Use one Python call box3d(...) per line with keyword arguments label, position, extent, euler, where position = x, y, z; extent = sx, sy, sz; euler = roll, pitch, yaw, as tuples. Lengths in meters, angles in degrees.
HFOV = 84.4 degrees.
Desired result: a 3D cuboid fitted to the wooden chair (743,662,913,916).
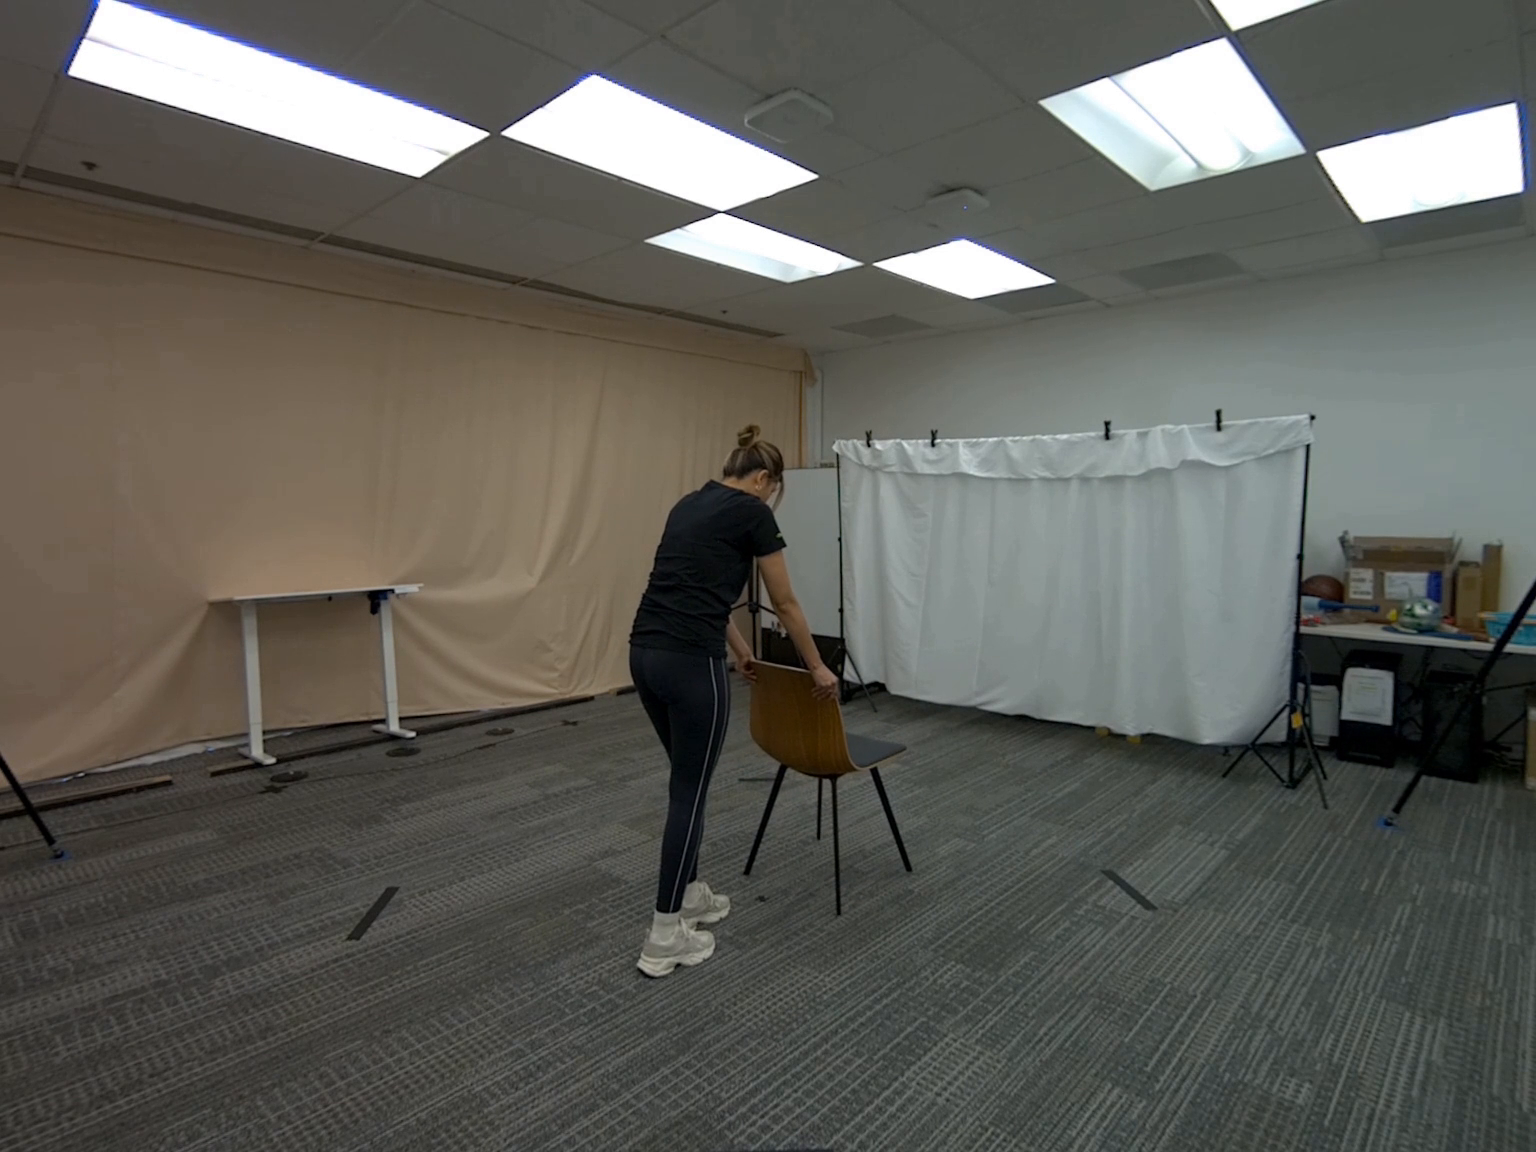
box3d(label="wooden chair", position=(0.223, 0.696, 3.141), extent=(0.494, 0.872, 0.509), euler=(3, 11, 43))
